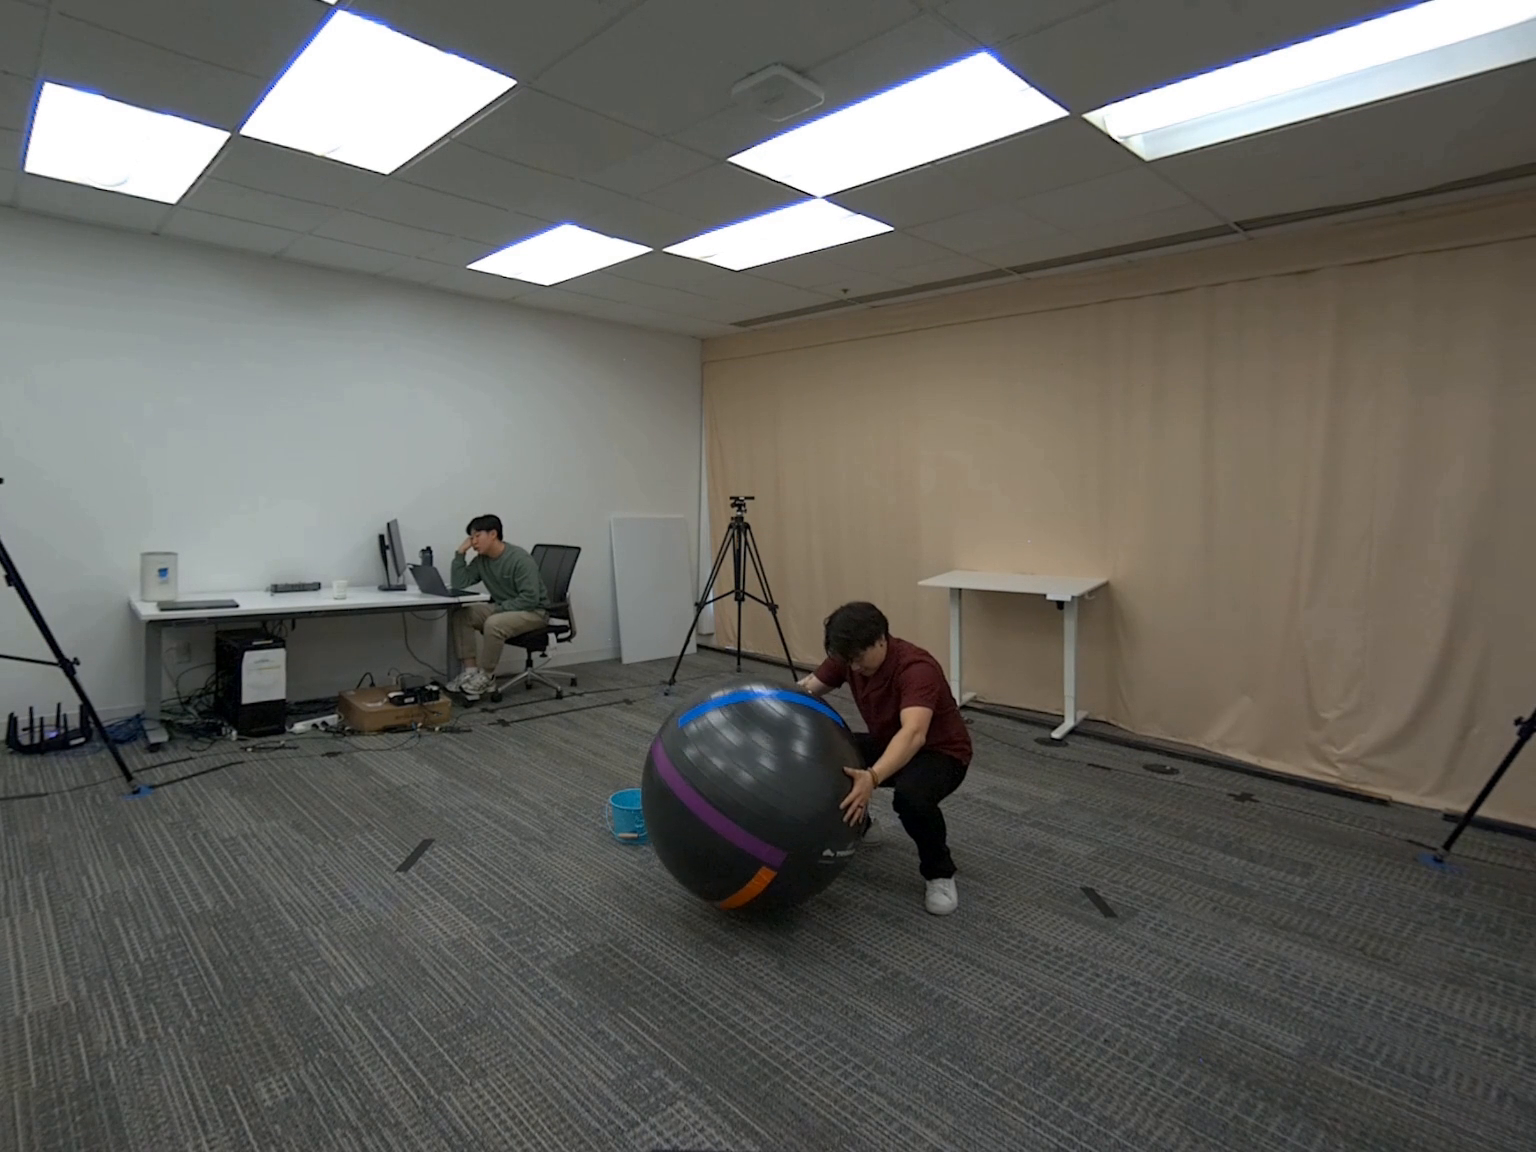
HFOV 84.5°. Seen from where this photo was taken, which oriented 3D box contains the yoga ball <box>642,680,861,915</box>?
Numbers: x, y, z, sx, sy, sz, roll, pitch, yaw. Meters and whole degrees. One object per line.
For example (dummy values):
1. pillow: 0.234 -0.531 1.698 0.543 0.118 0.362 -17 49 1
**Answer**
1. yoga ball: -0.049 0.714 2.804 0.757 0.756 0.761 1 4 -1
